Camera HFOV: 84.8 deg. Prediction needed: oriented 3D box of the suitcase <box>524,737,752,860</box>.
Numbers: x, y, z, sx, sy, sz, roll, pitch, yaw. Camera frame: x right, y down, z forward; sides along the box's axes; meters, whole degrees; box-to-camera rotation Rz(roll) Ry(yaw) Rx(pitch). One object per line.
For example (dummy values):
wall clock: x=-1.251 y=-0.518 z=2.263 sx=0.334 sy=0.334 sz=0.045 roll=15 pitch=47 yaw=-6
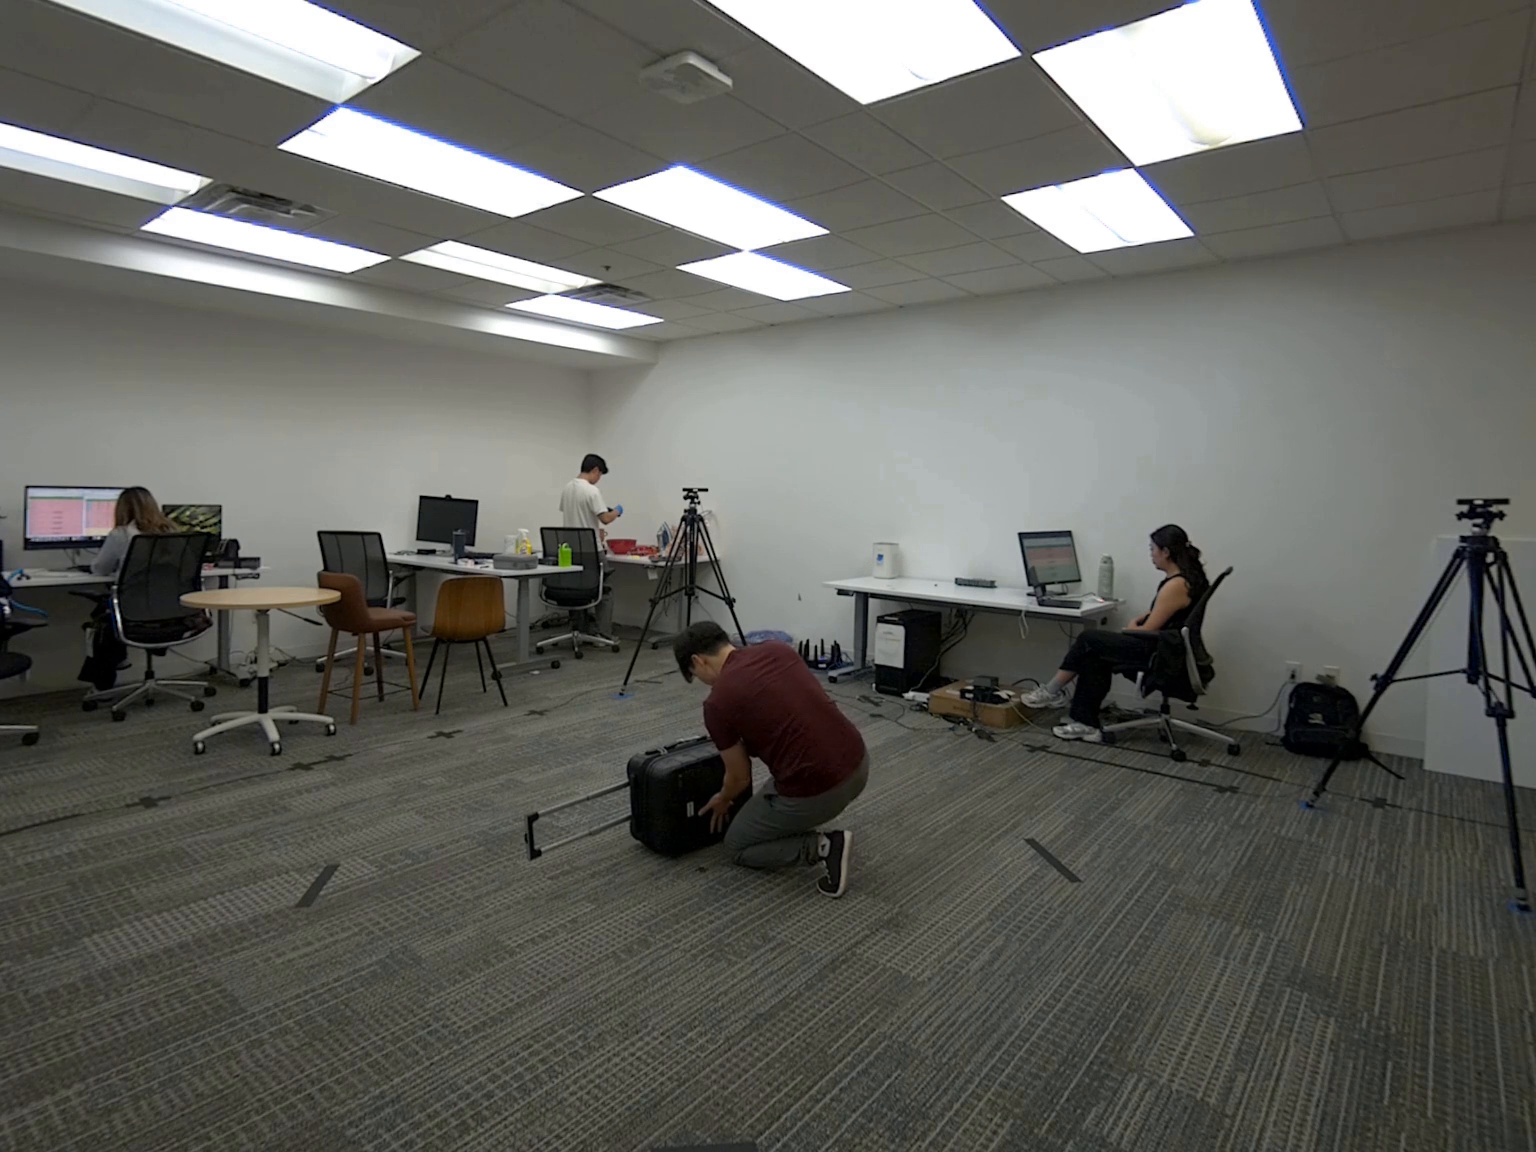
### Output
suitcase: x=-0.450 y=0.868 z=3.249 sx=0.265 sy=0.383 sz=0.950 roll=1 pitch=5 yaw=42
